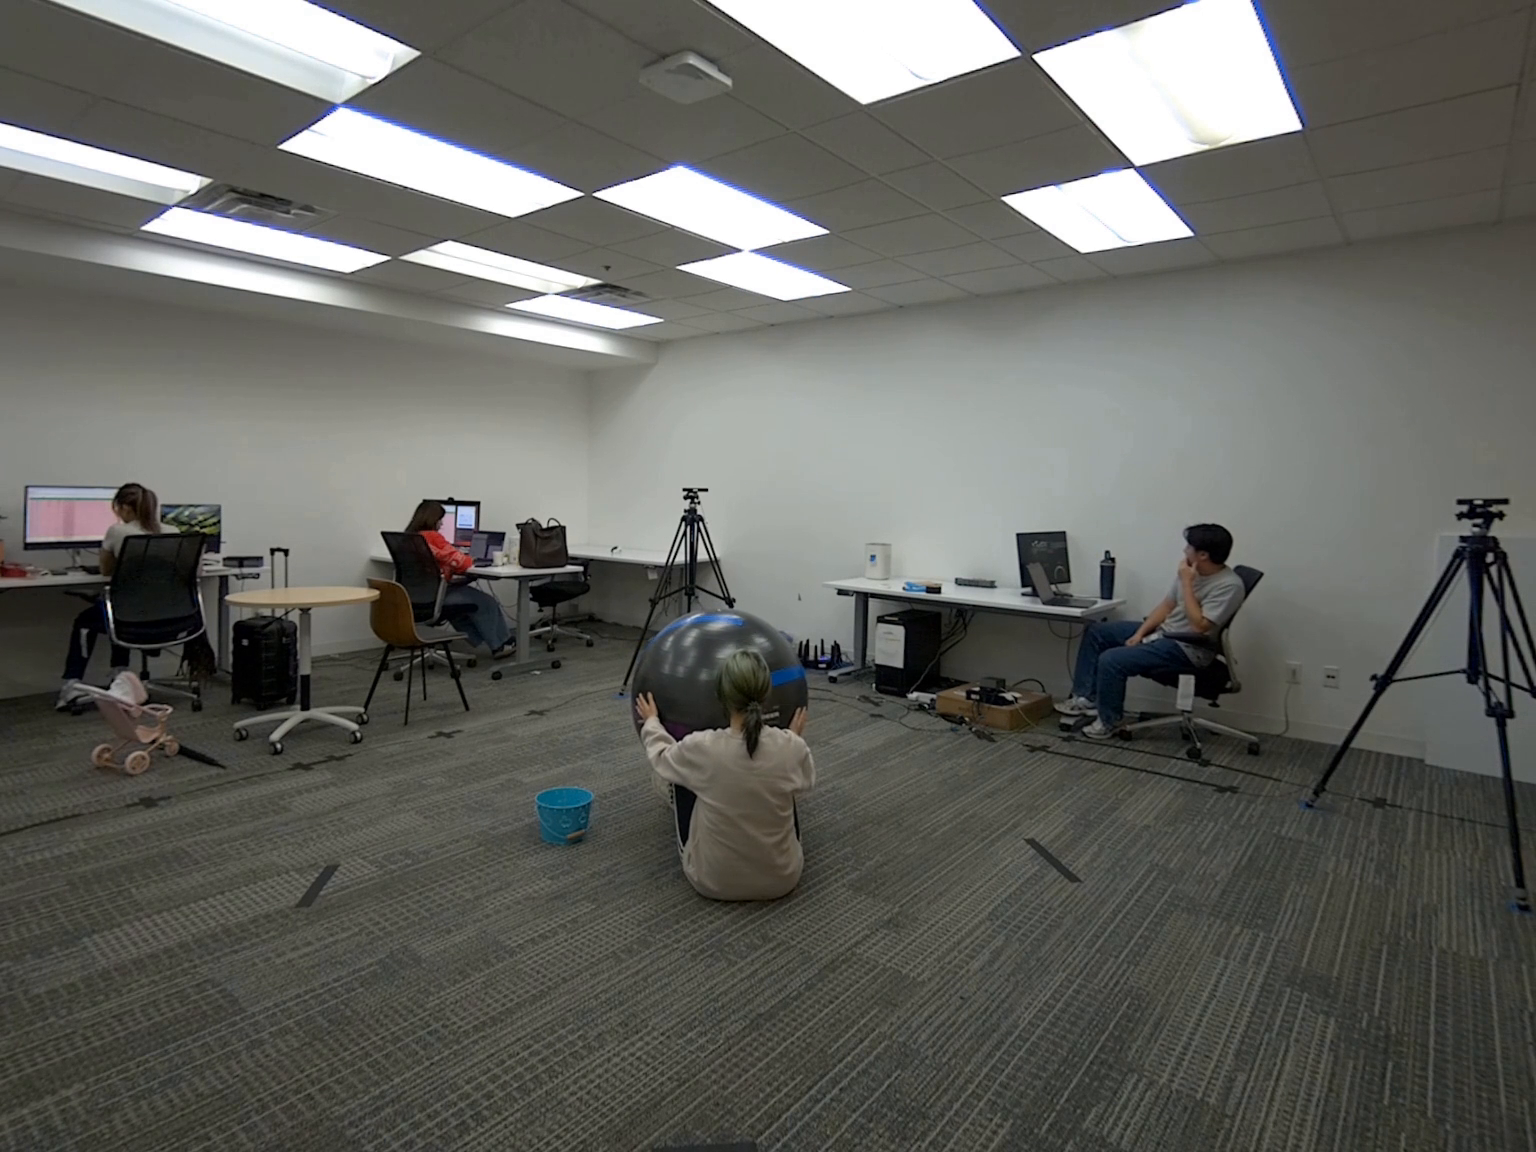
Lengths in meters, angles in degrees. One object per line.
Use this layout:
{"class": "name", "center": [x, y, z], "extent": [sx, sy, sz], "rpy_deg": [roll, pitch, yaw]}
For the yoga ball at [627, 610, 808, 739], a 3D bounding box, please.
{"class": "yoga ball", "center": [-0.215, 0.520, 3.649], "extent": [0.757, 0.756, 0.761], "rpy_deg": [1, 4, -2]}
